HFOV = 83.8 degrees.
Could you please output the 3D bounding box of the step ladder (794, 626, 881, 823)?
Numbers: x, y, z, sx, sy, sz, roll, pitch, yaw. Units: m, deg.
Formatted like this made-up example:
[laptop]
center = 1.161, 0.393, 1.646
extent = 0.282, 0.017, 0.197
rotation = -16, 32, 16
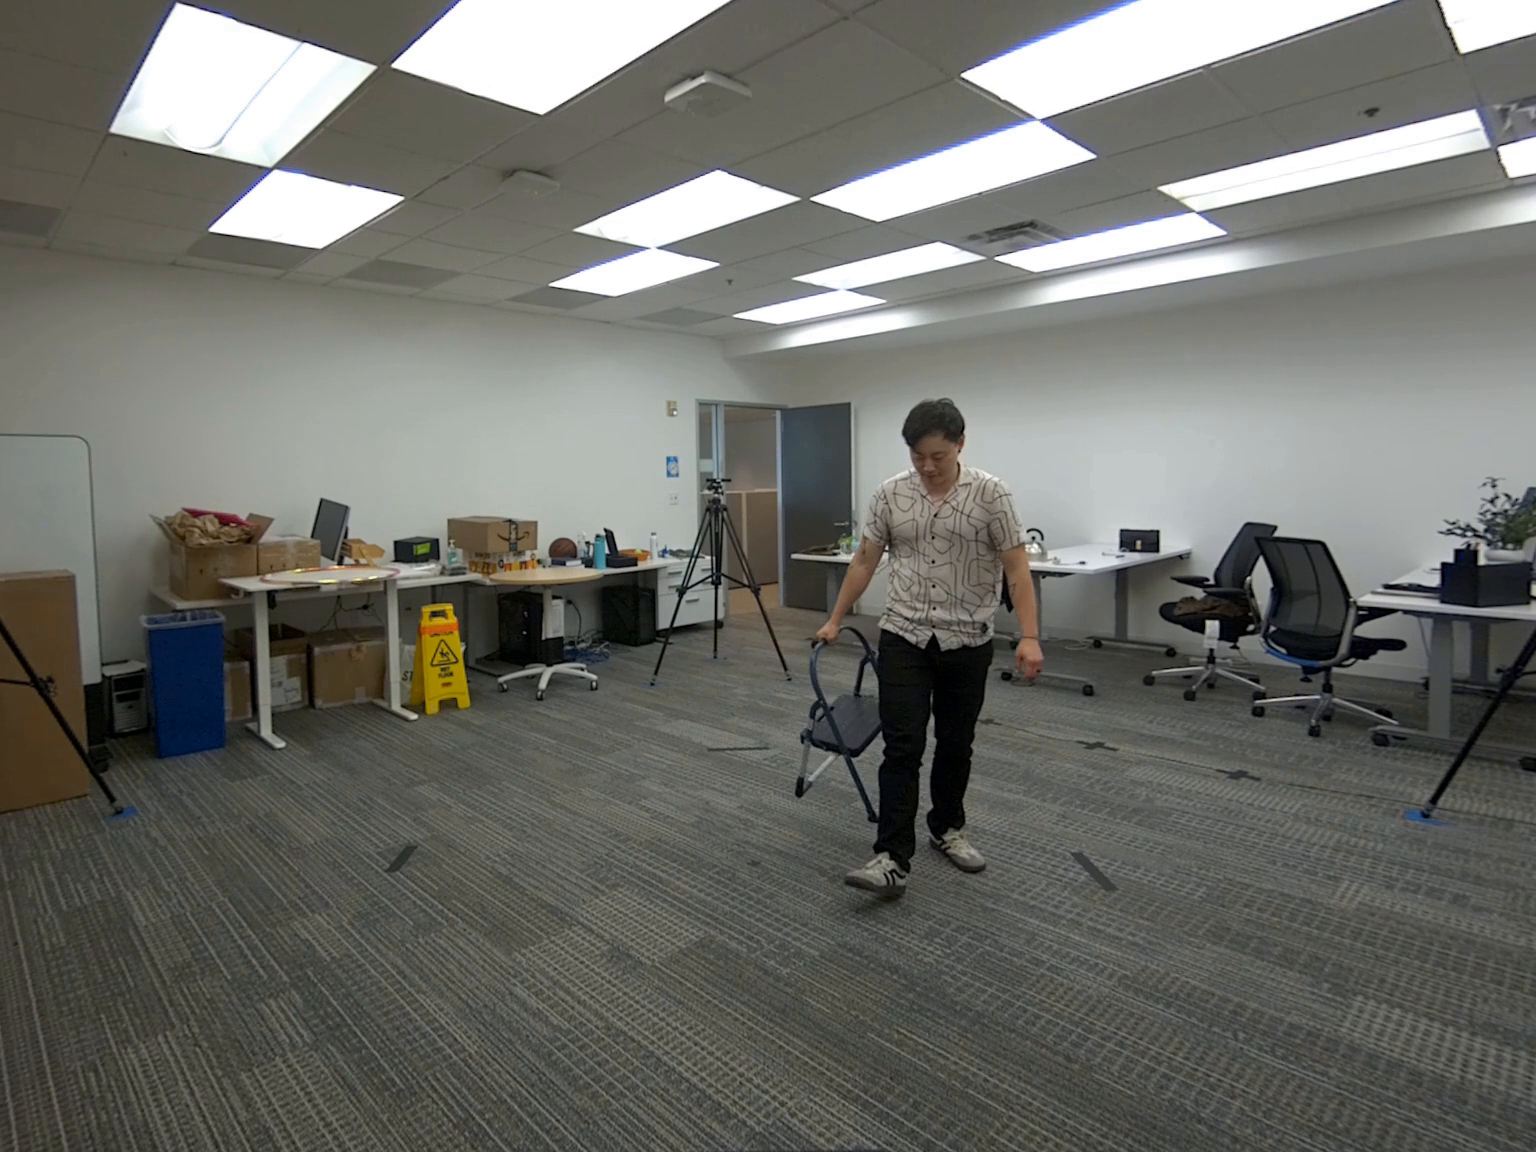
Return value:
[step ladder]
center = 0.318, 0.513, 3.218
extent = 0.359, 0.596, 0.425
rotation = 6, 21, 33
